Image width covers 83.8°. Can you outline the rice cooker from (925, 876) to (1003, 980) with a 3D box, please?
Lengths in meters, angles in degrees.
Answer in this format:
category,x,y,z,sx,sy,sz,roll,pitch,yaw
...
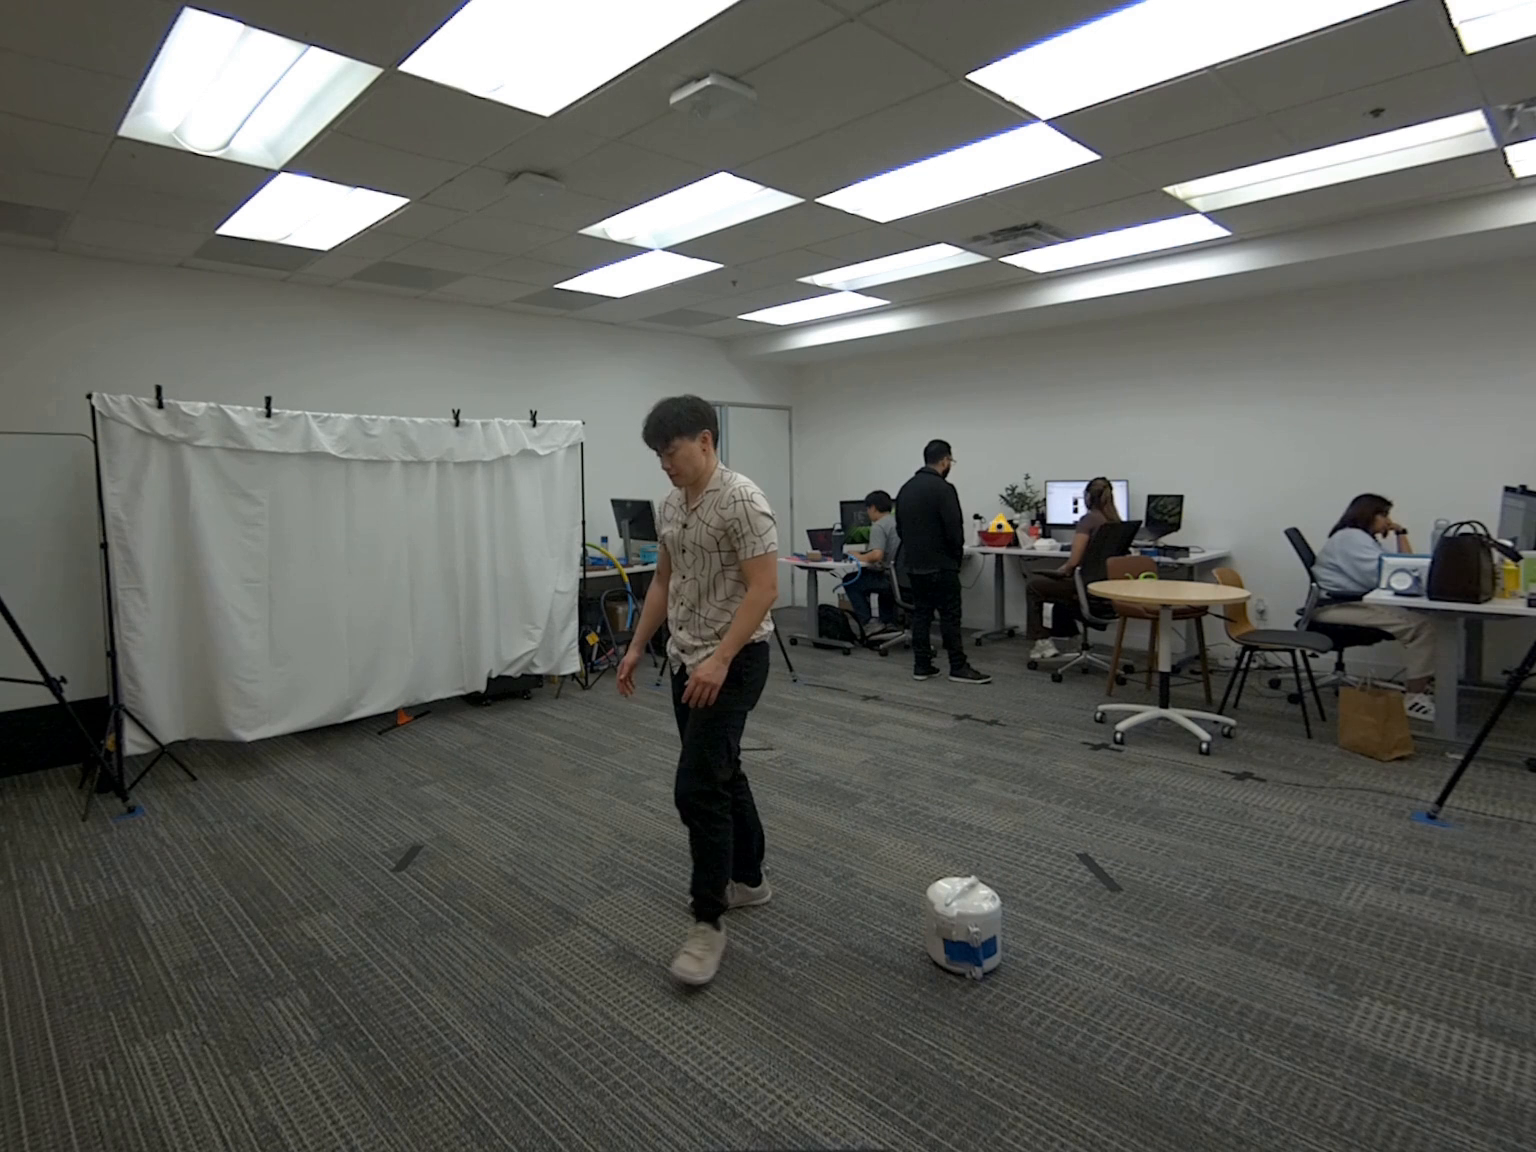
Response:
category,x,y,z,sx,sy,sz,roll,pitch,yaw
rice cooker,0.565,0.992,2.465,0.224,0.232,0.215,4,7,43
